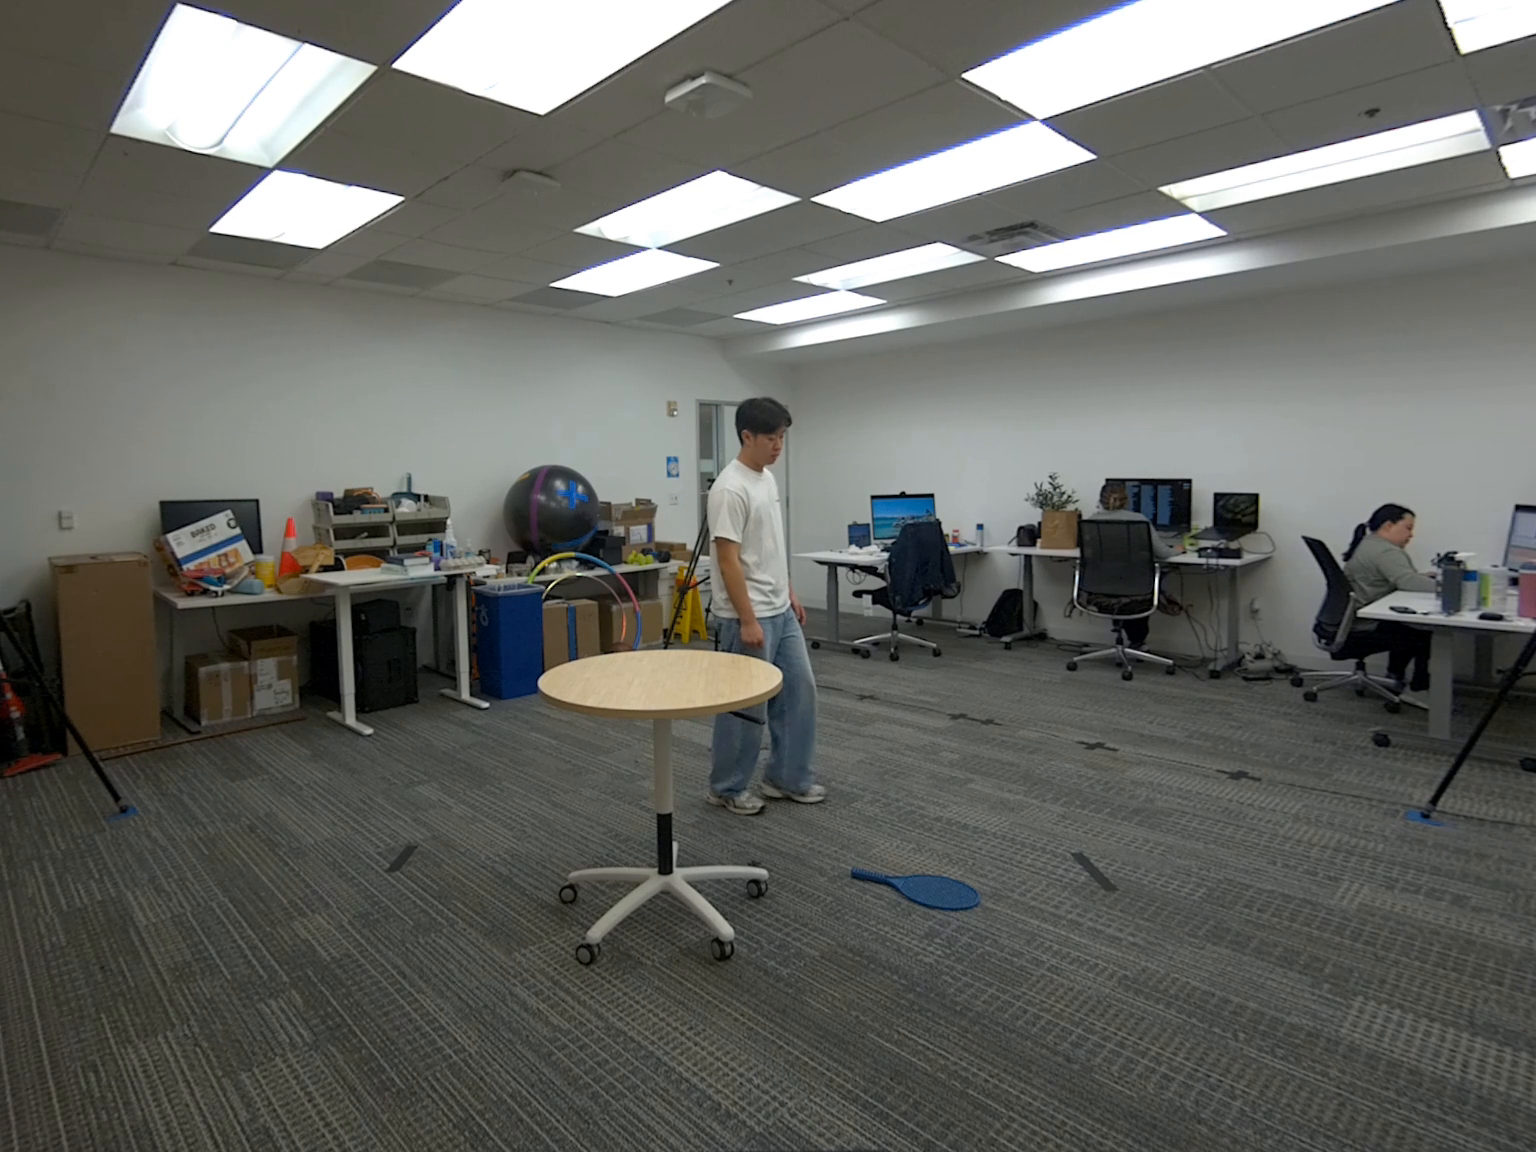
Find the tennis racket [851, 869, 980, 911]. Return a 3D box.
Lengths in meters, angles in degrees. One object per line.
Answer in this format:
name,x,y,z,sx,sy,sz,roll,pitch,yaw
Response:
tennis racket,0.494,1.045,2.891,0.444,0.031,0.209,5,7,28
